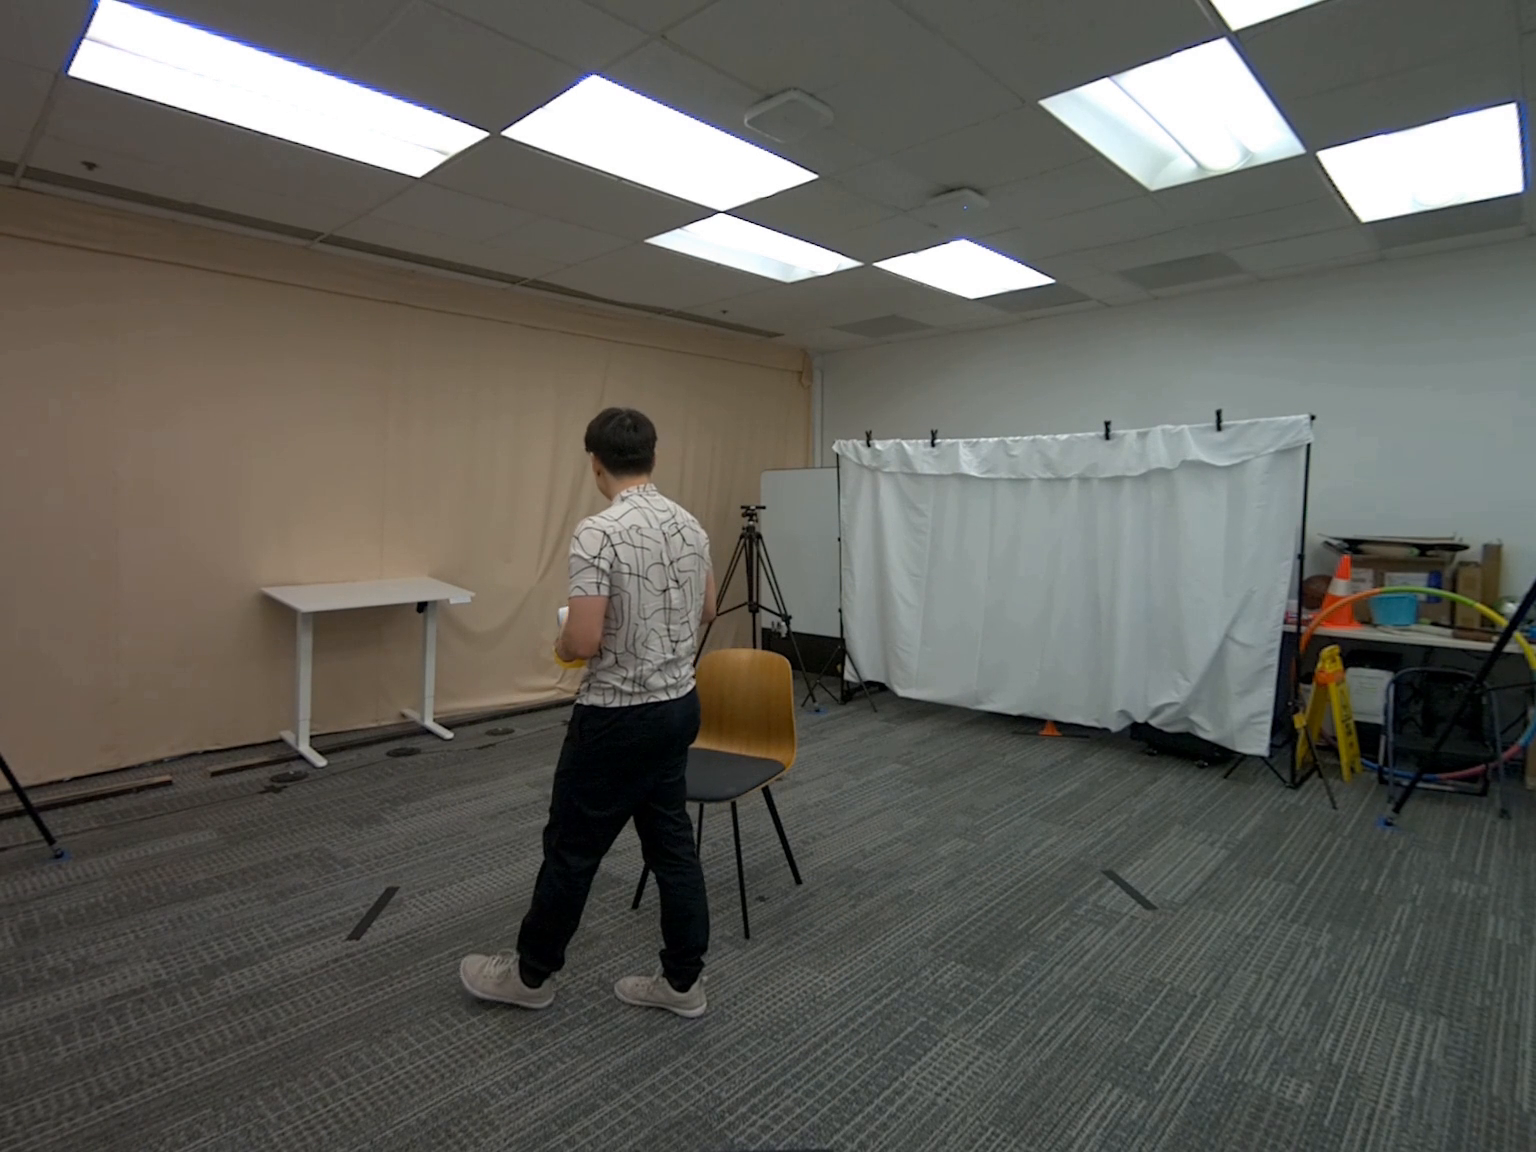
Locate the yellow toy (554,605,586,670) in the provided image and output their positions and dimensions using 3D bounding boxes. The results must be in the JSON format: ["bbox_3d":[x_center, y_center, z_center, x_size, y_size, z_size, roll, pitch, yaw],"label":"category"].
[{"bbox_3d":[-0.550,0.124,2.482,0.201,0.227,0.200,-23,27,-32],"label":"yellow toy"}]
